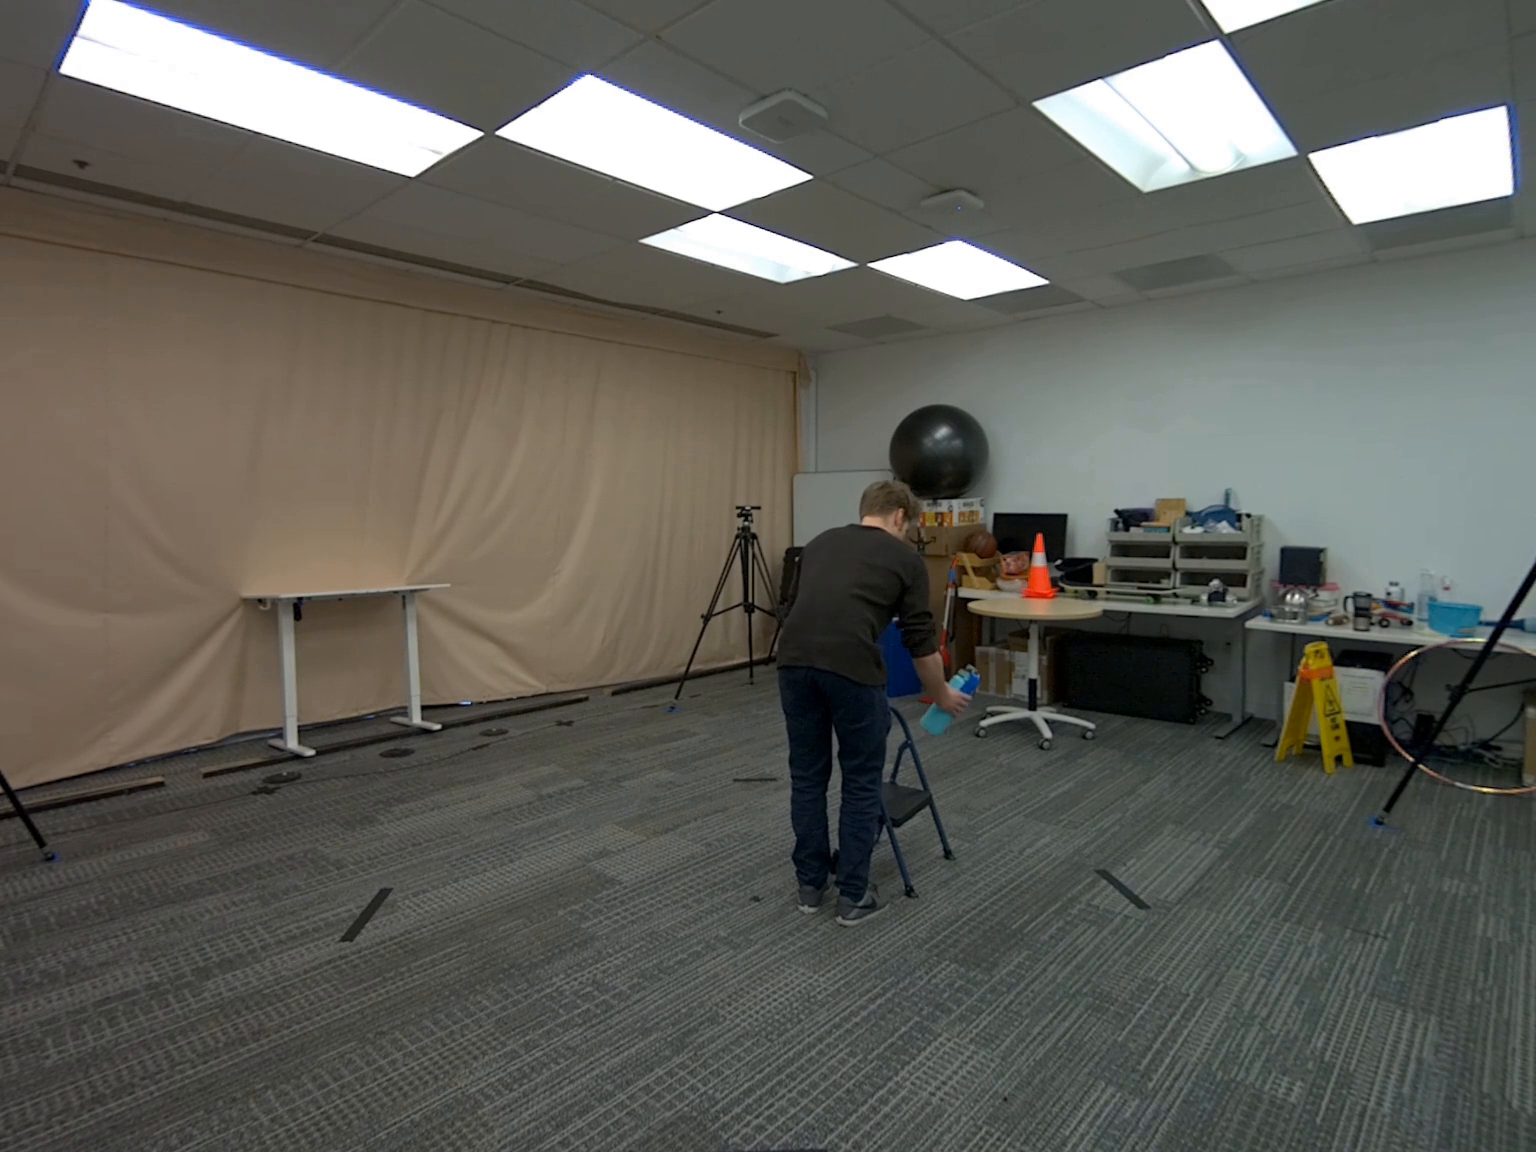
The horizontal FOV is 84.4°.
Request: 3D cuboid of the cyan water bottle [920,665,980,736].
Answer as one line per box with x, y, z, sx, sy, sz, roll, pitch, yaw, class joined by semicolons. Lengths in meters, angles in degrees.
0.685;0.462;3.090;0.092;0.283;0.093;38;5;-6;cyan water bottle
